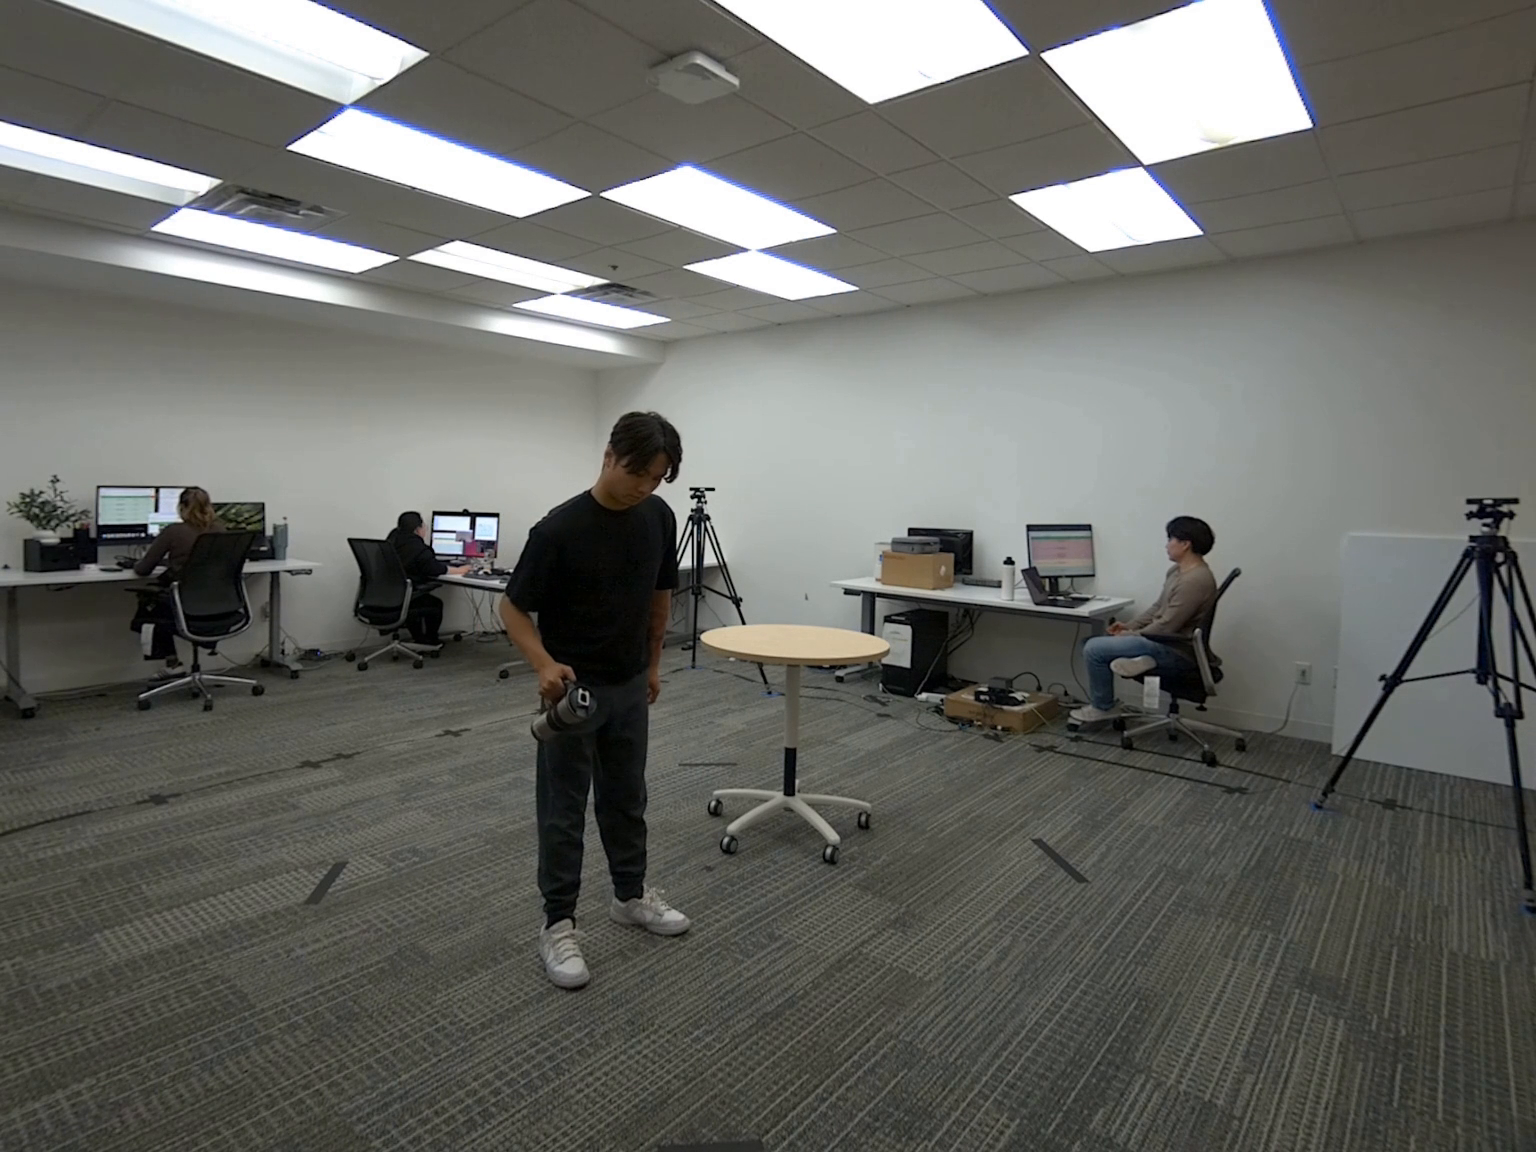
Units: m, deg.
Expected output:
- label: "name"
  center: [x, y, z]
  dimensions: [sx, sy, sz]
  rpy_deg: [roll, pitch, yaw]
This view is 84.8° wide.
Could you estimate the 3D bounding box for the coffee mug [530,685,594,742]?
- label: "coffee mug"
  center: [-0.572, 0.368, 2.324]
  dimensions: [0.085, 0.124, 0.204]
  rpy_deg: [35, -51, -21]
